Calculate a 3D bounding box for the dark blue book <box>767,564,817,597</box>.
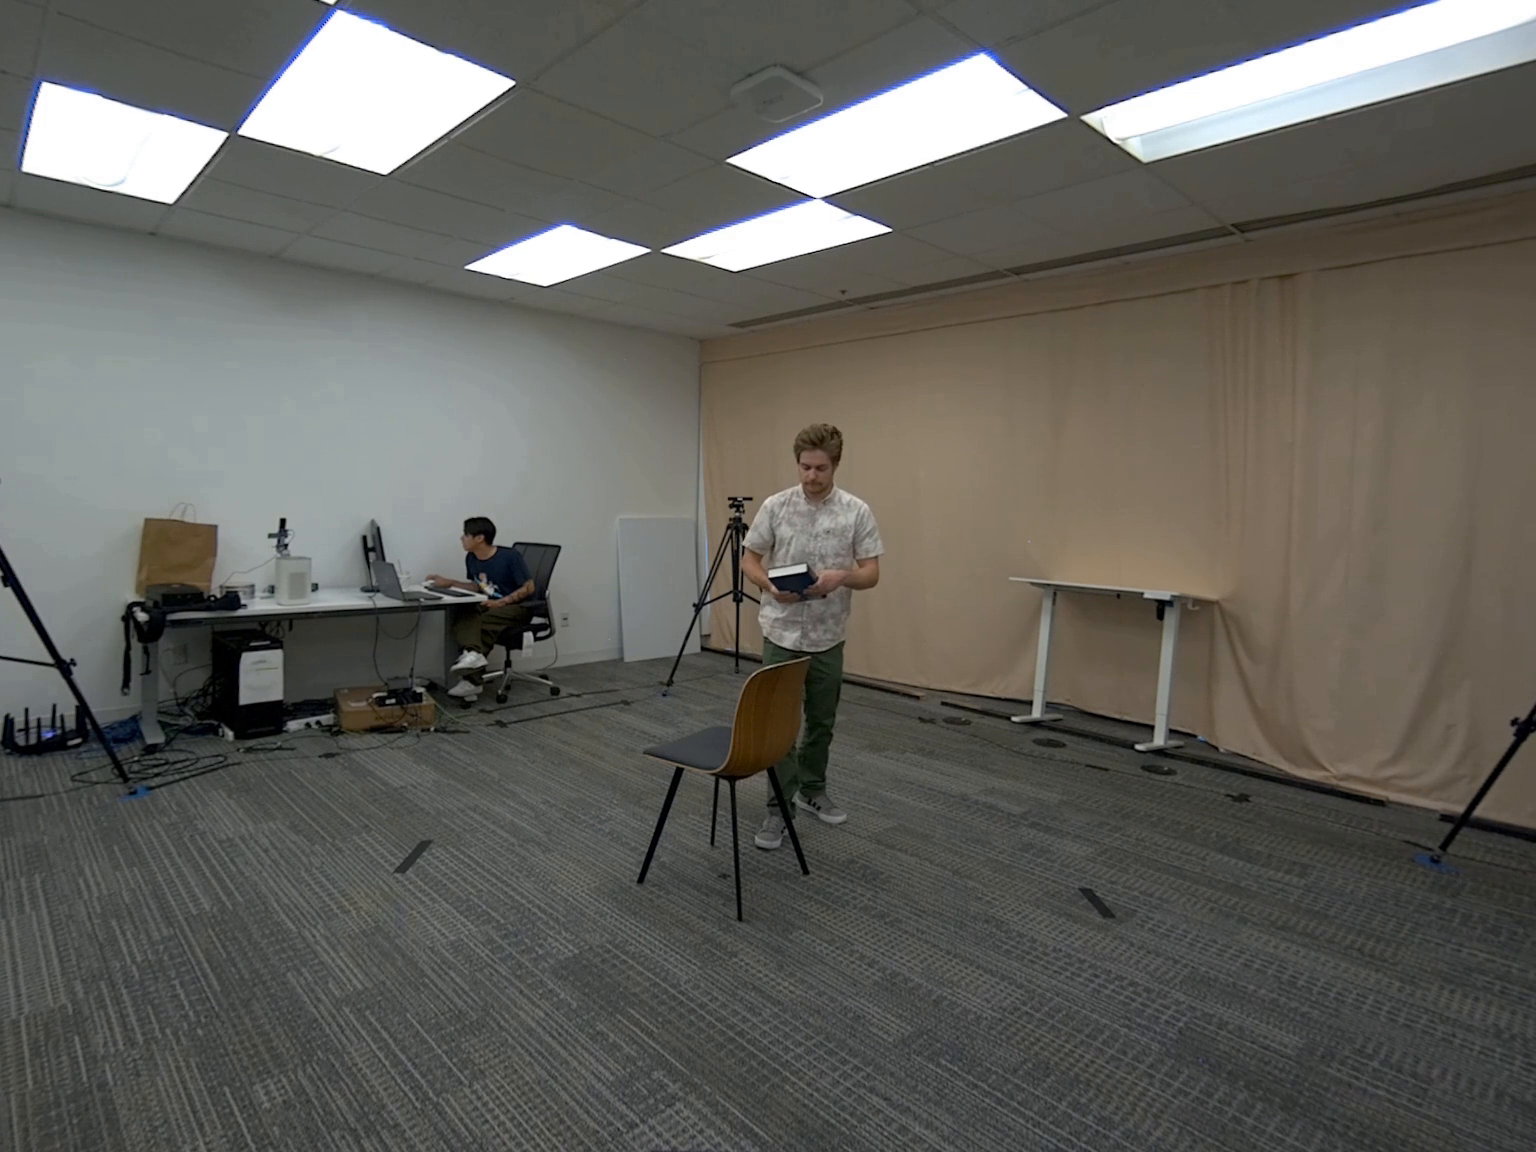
[{"bbox_3d":[0.095,0.025,3.294,0.165,0.046,0.238,-6,-26,17],"label":"dark blue book"}]
